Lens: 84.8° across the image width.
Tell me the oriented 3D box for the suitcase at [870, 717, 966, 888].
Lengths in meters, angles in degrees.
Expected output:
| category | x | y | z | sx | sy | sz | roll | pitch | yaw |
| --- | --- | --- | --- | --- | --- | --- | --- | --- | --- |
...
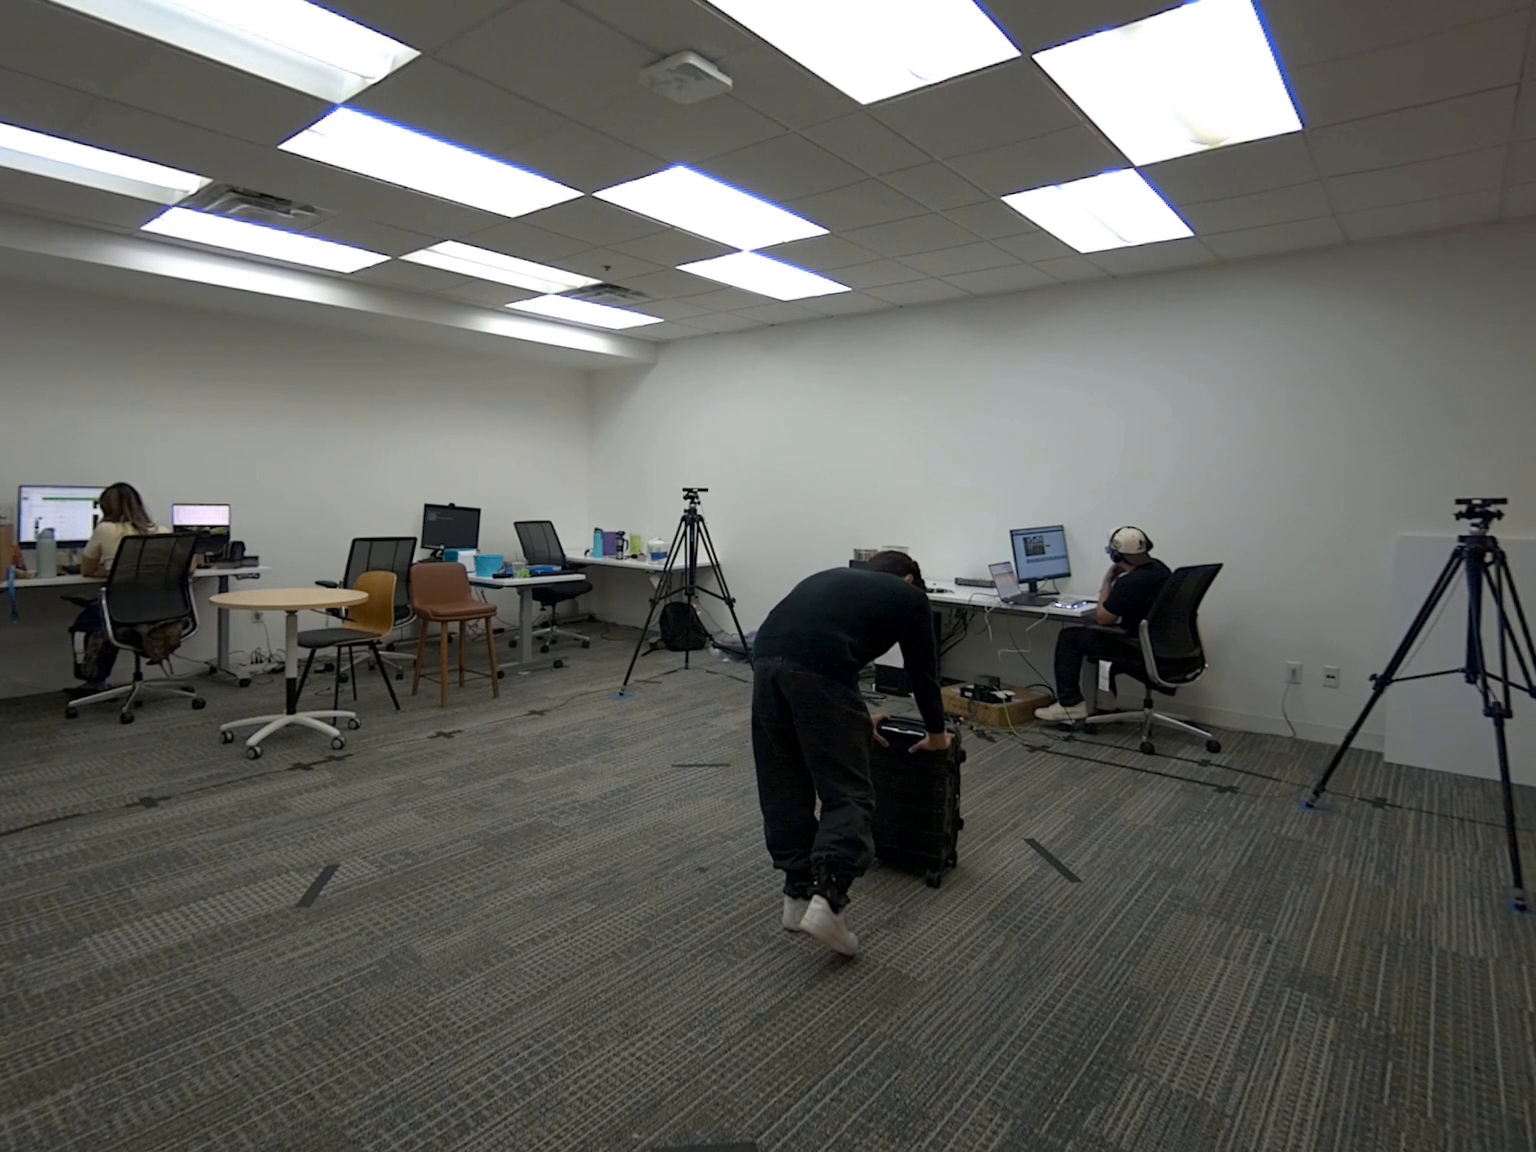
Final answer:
| category | x | y | z | sx | sy | sz | roll | pitch | yaw |
| --- | --- | --- | --- | --- | --- | --- | --- | --- | --- |
| suitcase | 0.519 | 0.801 | 3.192 | 0.386 | 0.548 | 0.242 | 3 | 2 | 30 |
